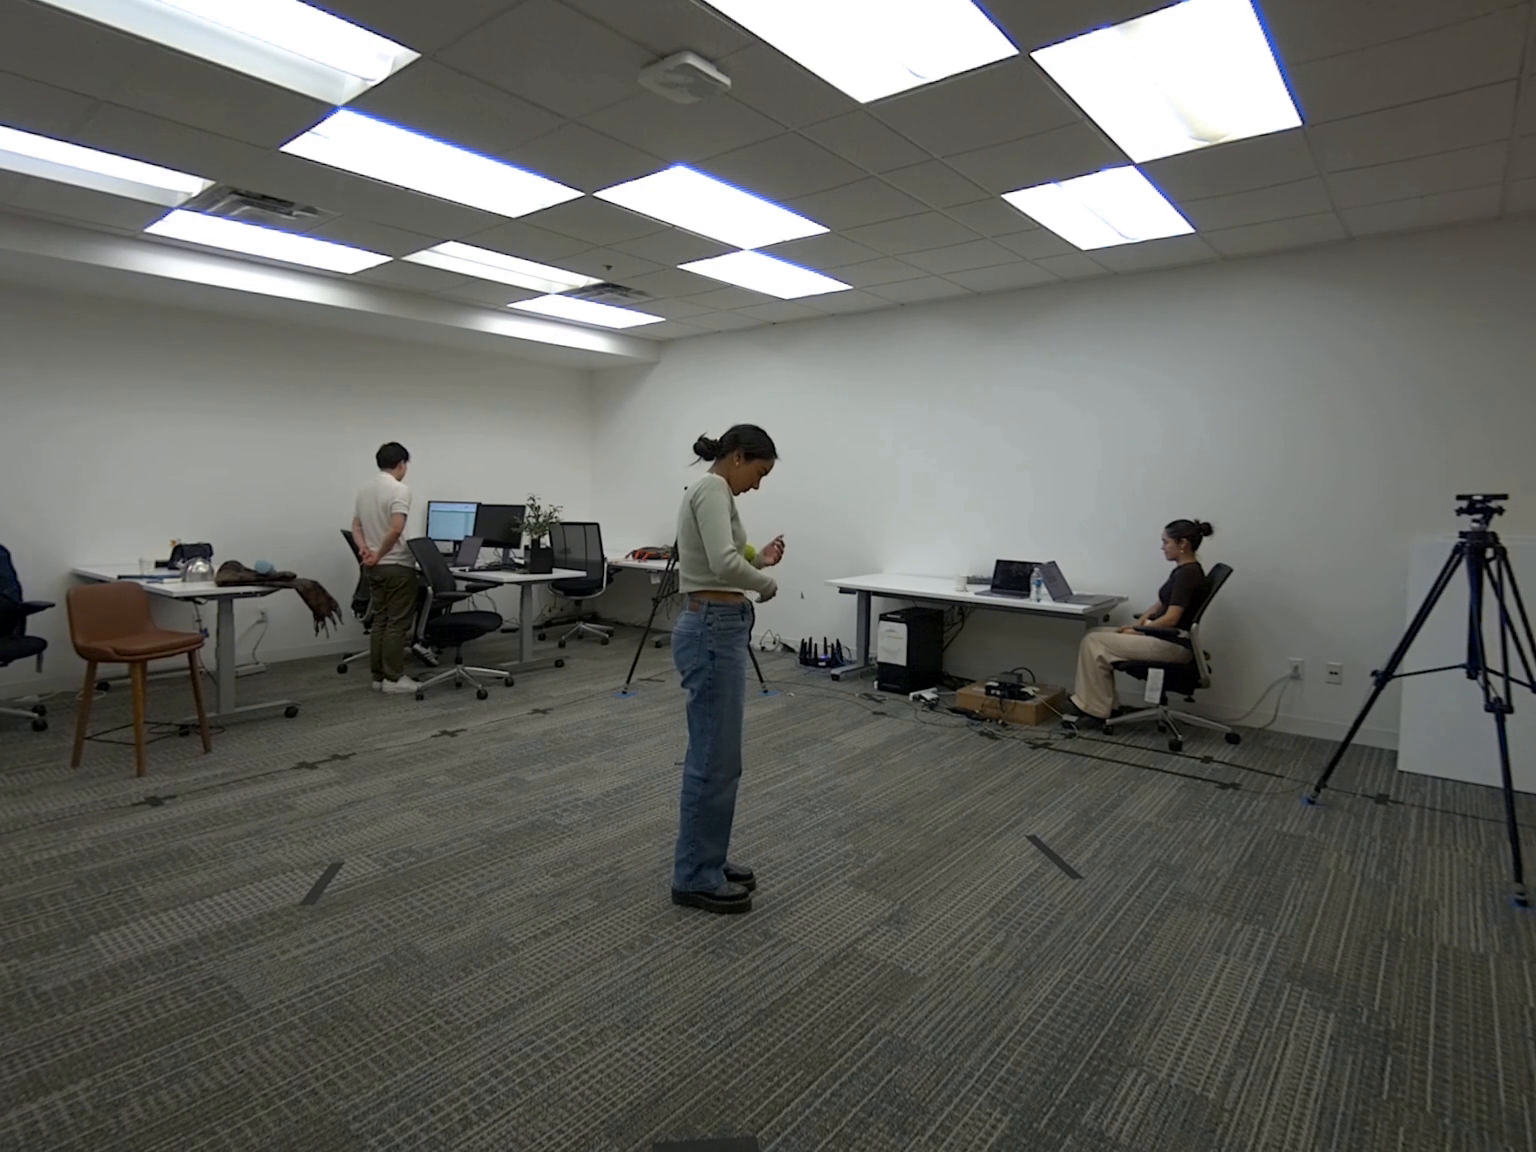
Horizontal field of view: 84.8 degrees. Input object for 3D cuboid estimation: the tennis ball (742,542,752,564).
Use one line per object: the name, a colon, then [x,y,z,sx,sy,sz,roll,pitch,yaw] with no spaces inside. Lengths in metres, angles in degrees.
tennis ball: [-0.122,-0.067,2.956,0.066,0.066,0.067,1,4,-2]
